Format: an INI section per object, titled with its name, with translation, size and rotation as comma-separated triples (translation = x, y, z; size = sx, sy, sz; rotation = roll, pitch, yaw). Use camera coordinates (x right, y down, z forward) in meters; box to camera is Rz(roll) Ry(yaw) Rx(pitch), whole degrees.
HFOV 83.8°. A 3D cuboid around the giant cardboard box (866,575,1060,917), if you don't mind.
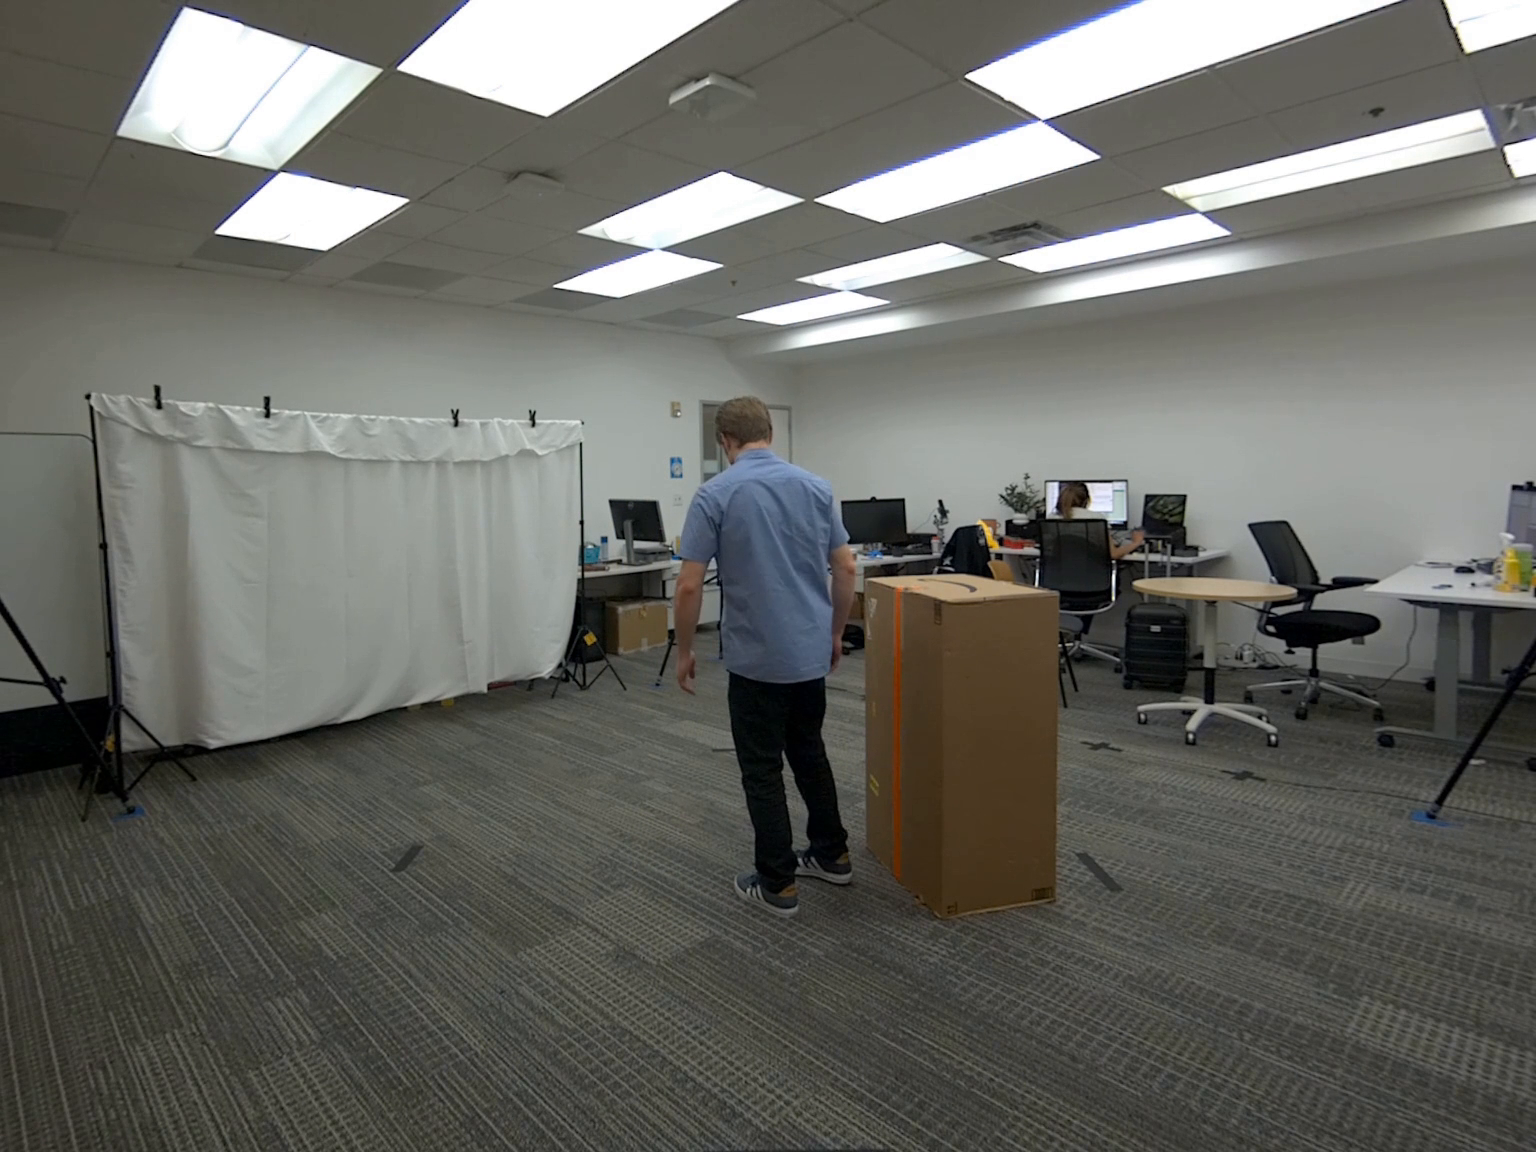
[giant cardboard box]
translation = 0.653, 0.542, 2.983
size = 0.440, 1.023, 0.595
rotation = -1, 4, -18
